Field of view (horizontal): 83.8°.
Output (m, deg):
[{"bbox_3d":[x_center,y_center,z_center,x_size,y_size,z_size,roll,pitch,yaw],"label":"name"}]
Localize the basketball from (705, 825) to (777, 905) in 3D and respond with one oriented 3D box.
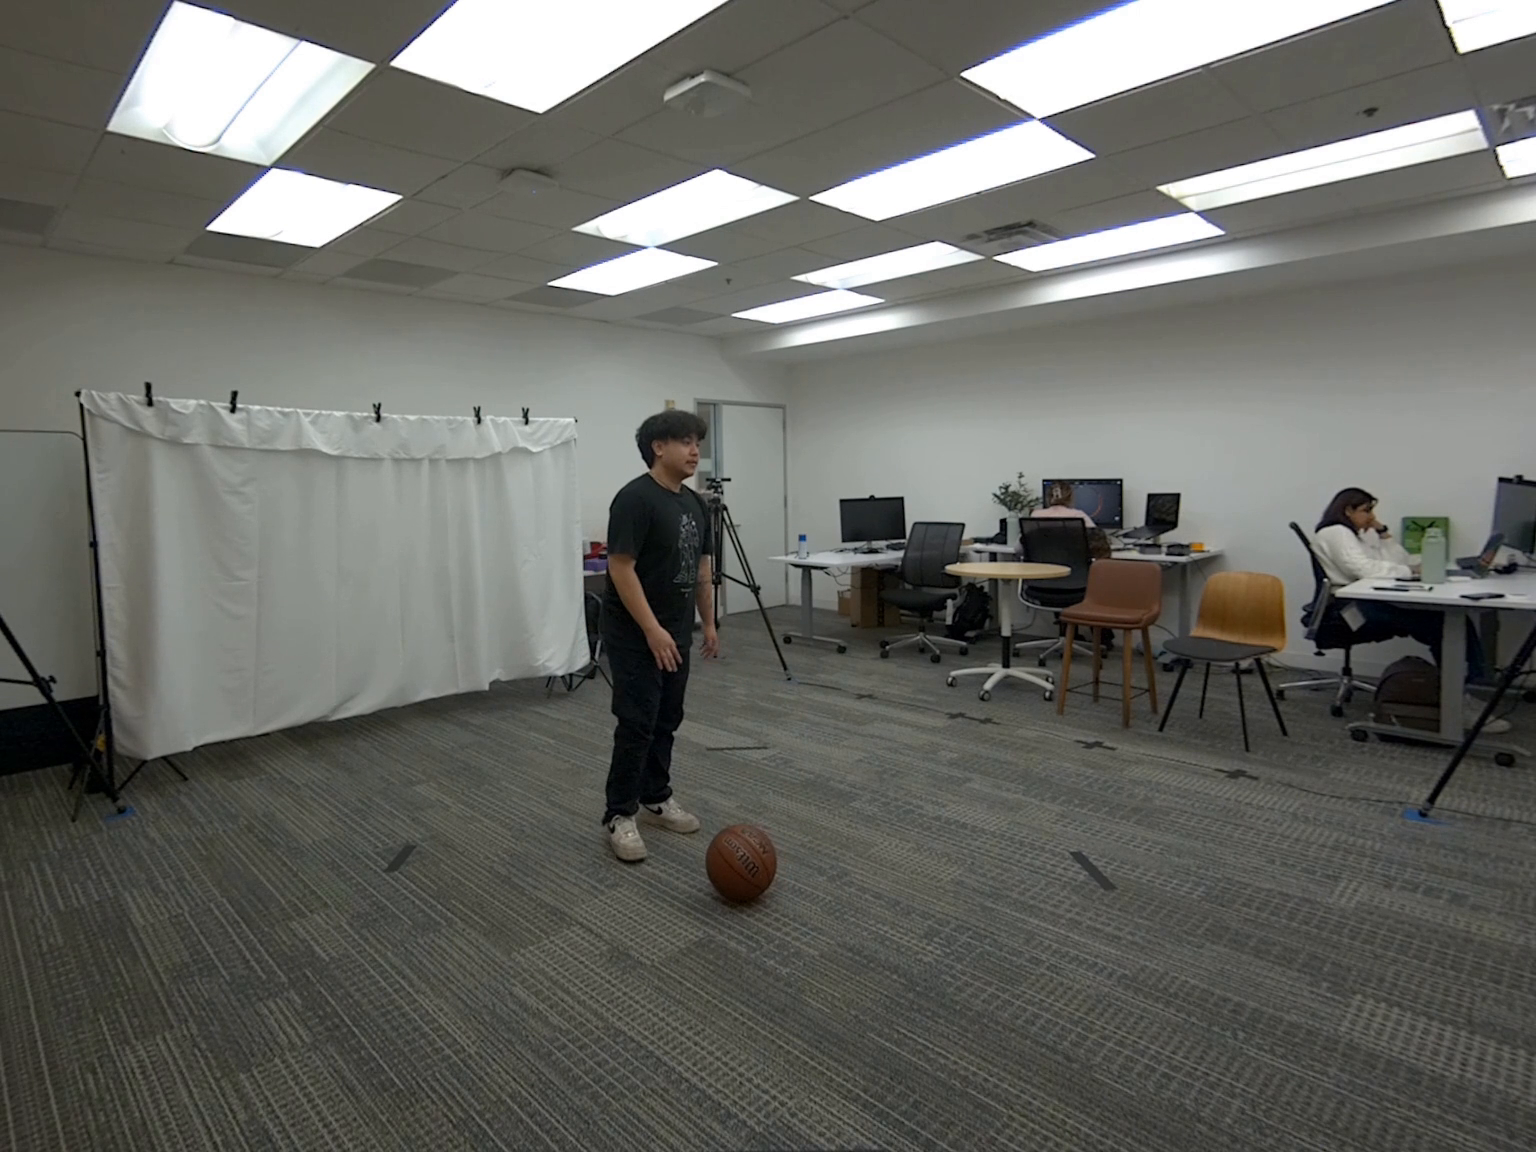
[{"bbox_3d":[-0.086,0.949,2.850,0.236,0.235,0.237,-1,5,-2],"label":"basketball"}]
